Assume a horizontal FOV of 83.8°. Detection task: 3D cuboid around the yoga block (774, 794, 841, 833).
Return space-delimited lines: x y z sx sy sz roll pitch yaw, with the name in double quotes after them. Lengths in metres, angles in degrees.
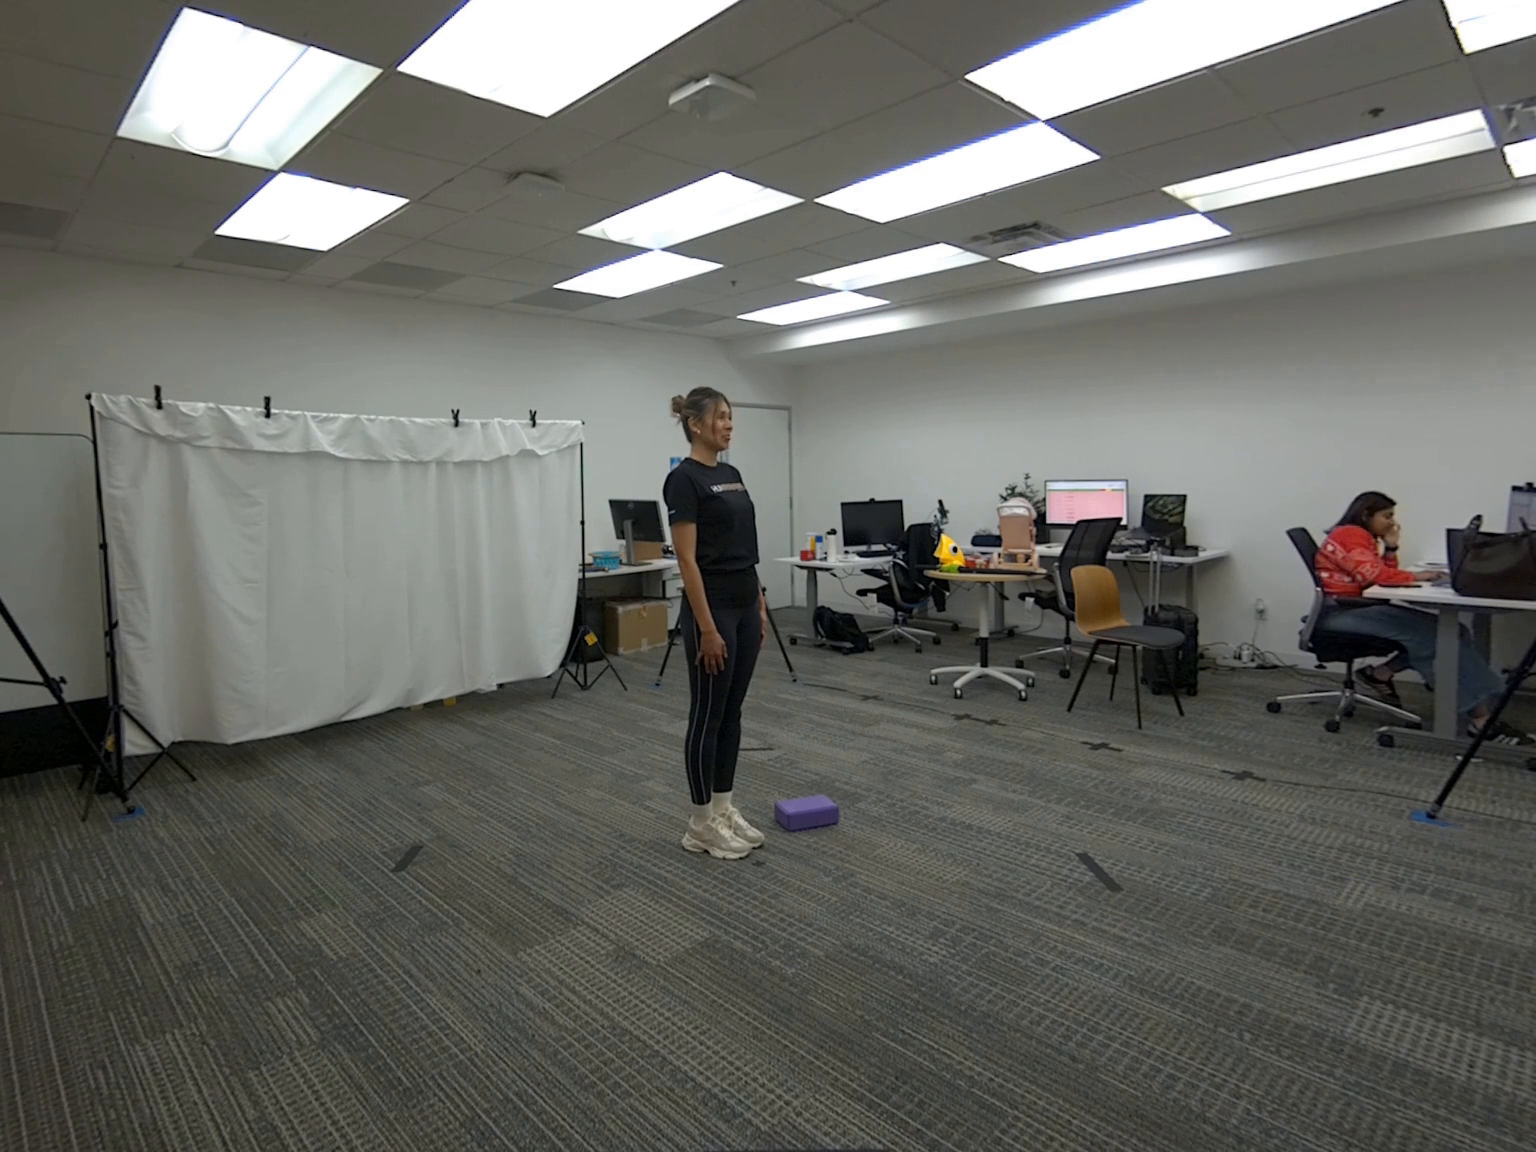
0.157 0.962 3.481 0.225 0.076 0.152 -4 7 -20 "yoga block"
